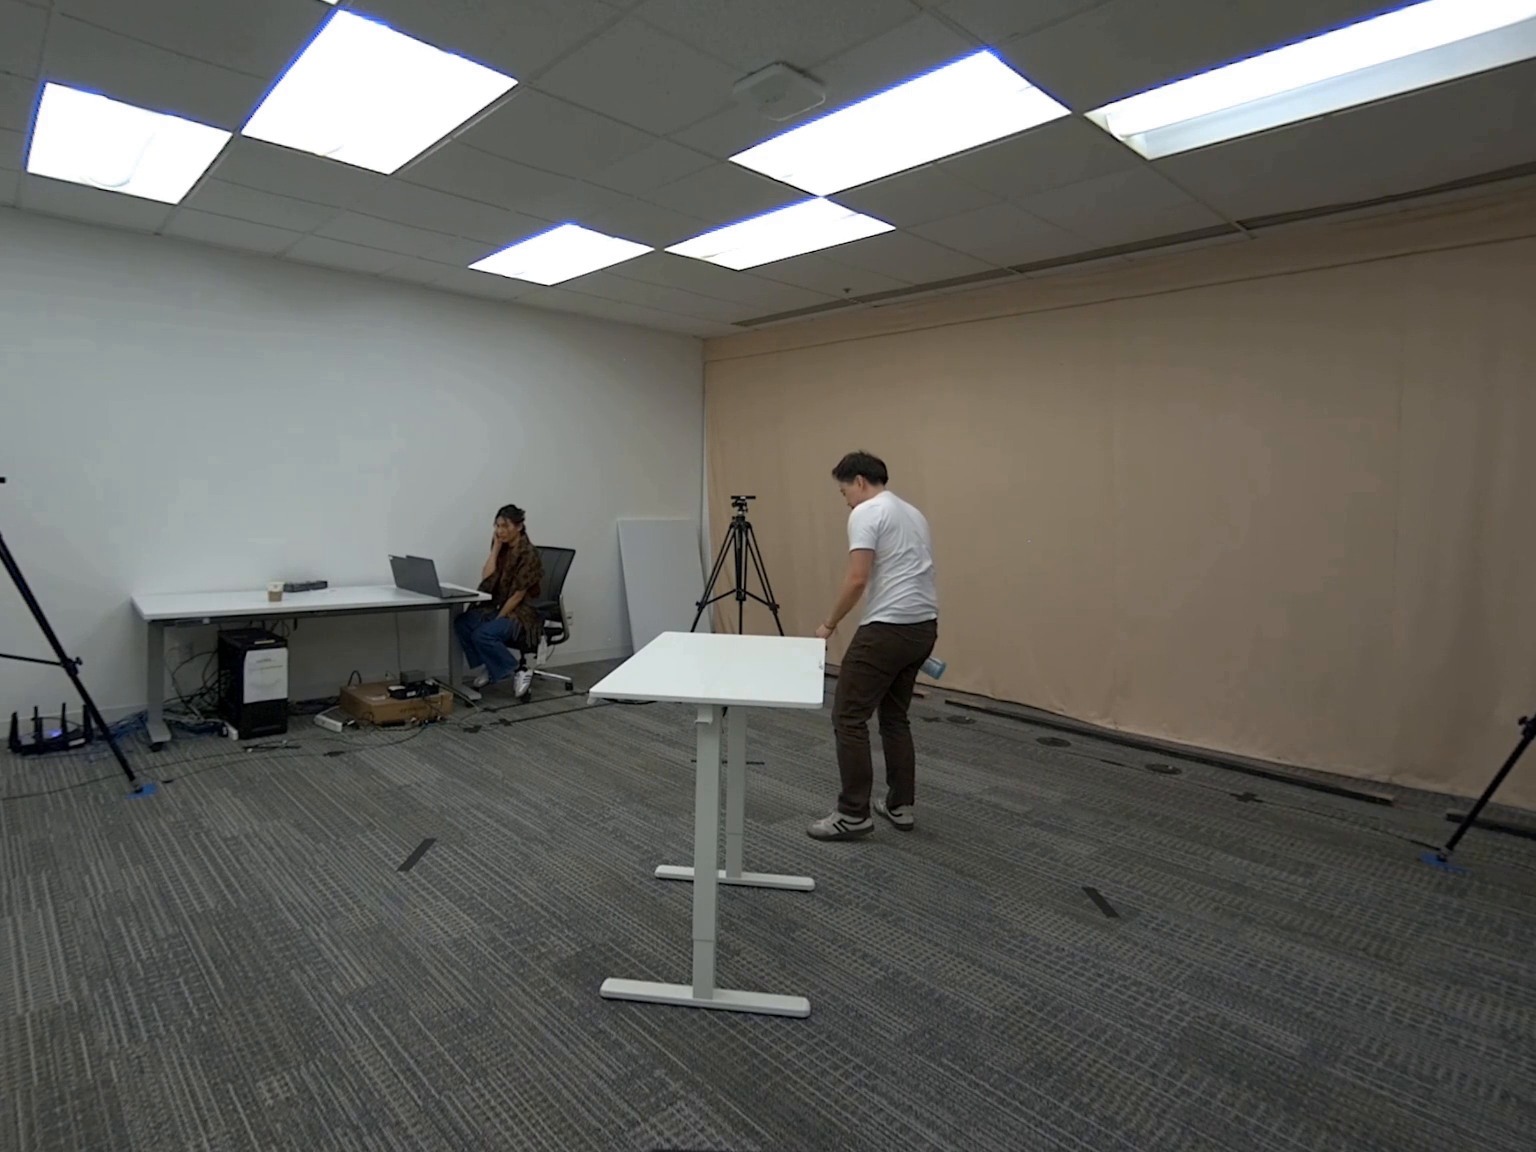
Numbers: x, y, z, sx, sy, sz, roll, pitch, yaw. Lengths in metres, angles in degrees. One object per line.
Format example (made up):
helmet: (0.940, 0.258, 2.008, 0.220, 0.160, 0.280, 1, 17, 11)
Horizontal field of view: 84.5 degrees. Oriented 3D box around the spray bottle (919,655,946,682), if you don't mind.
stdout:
spray bottle: (0.654, 0.375, 3.846, 0.304, 0.088, 0.087, 28, 53, 21)
